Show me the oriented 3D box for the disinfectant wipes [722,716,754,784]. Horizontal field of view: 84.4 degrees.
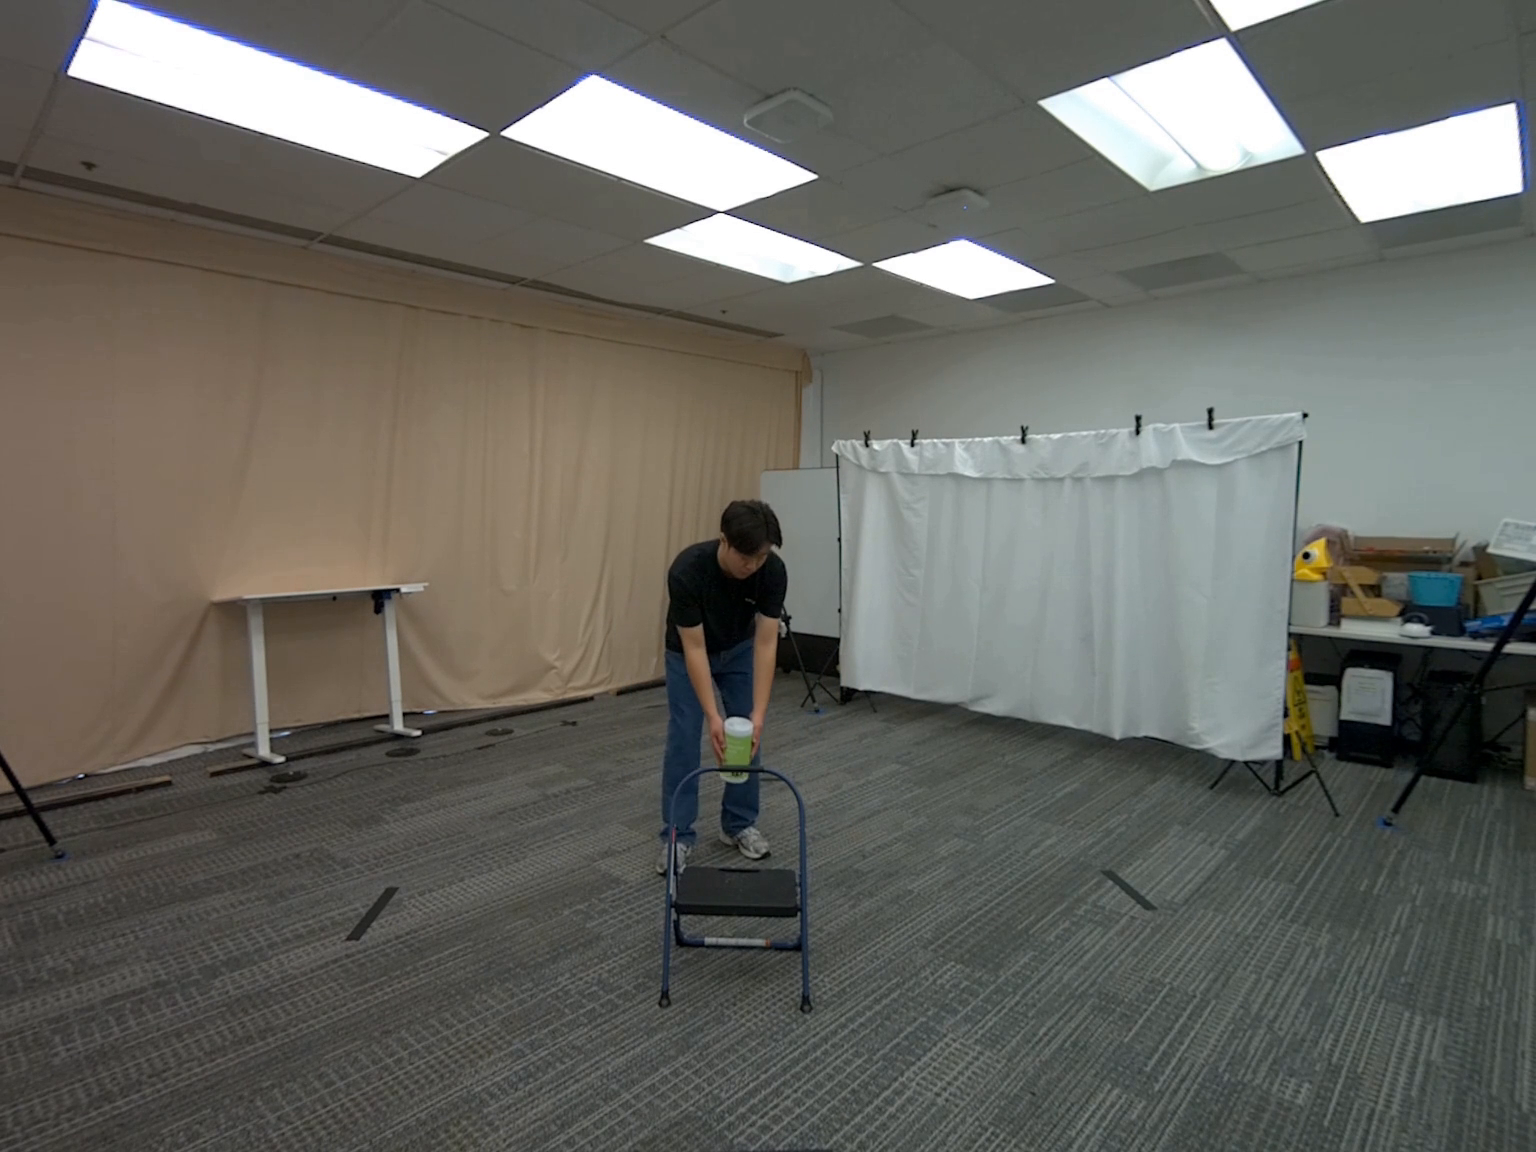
[{"bbox_3d":[-0.115,0.639,3.098,0.117,0.216,0.119,4,15,-3],"label":"disinfectant wipes"}]
